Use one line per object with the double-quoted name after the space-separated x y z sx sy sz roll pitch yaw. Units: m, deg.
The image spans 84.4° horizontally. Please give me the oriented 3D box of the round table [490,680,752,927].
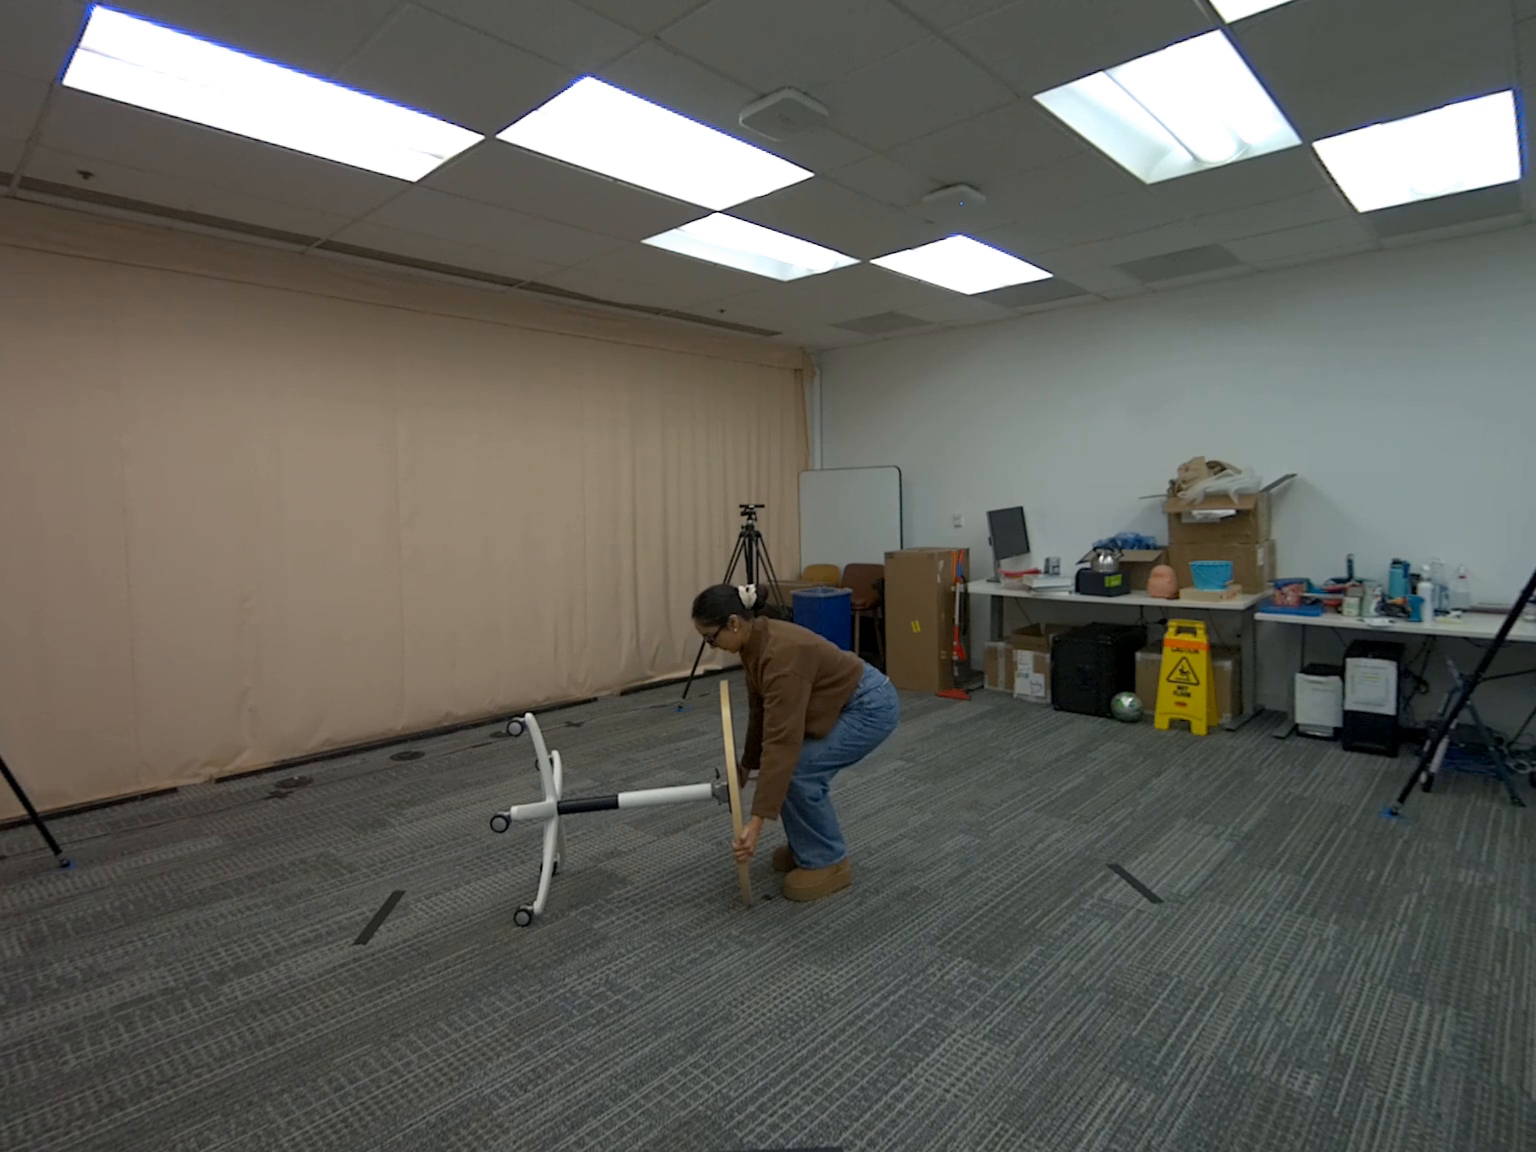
-0.494 0.805 3.014 0.795 0.762 0.765 -6 4 0 "round table"
